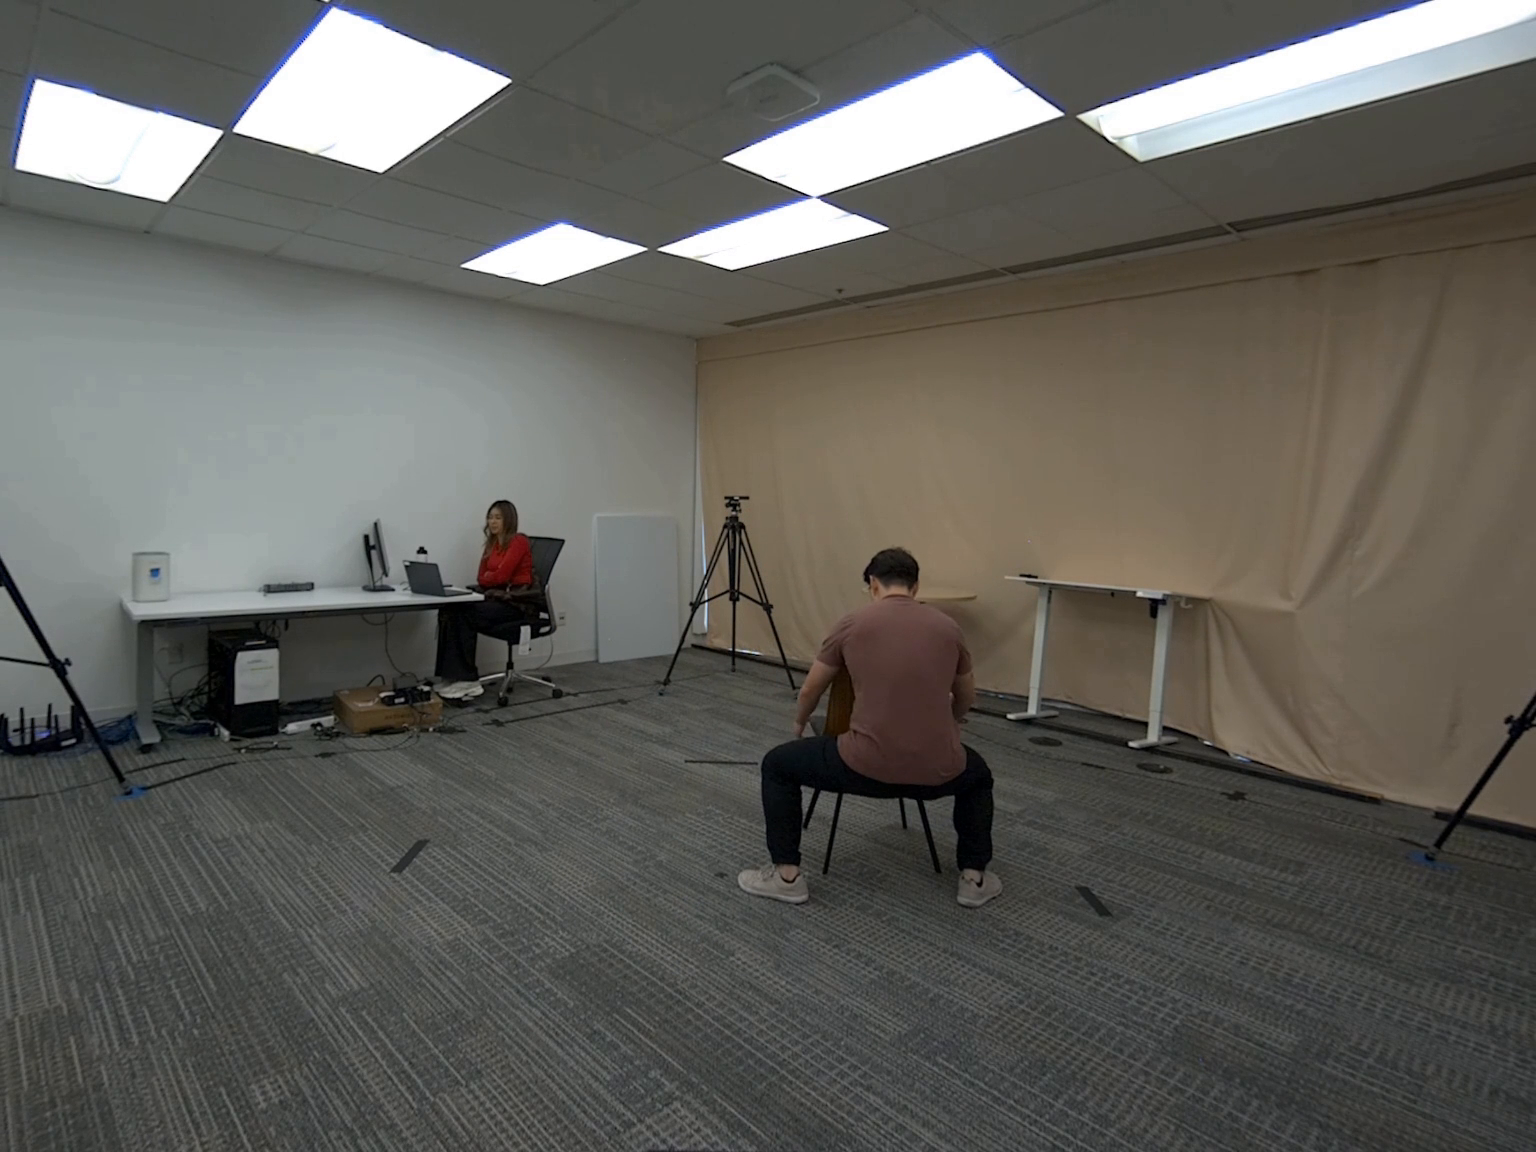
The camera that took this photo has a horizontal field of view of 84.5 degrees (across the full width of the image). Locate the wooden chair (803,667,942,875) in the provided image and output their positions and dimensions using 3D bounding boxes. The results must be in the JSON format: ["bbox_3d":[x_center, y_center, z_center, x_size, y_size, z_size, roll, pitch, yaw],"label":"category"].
[{"bbox_3d":[0.397,0.670,3.355,0.476,0.872,0.528,1,8,-6],"label":"wooden chair"}]
